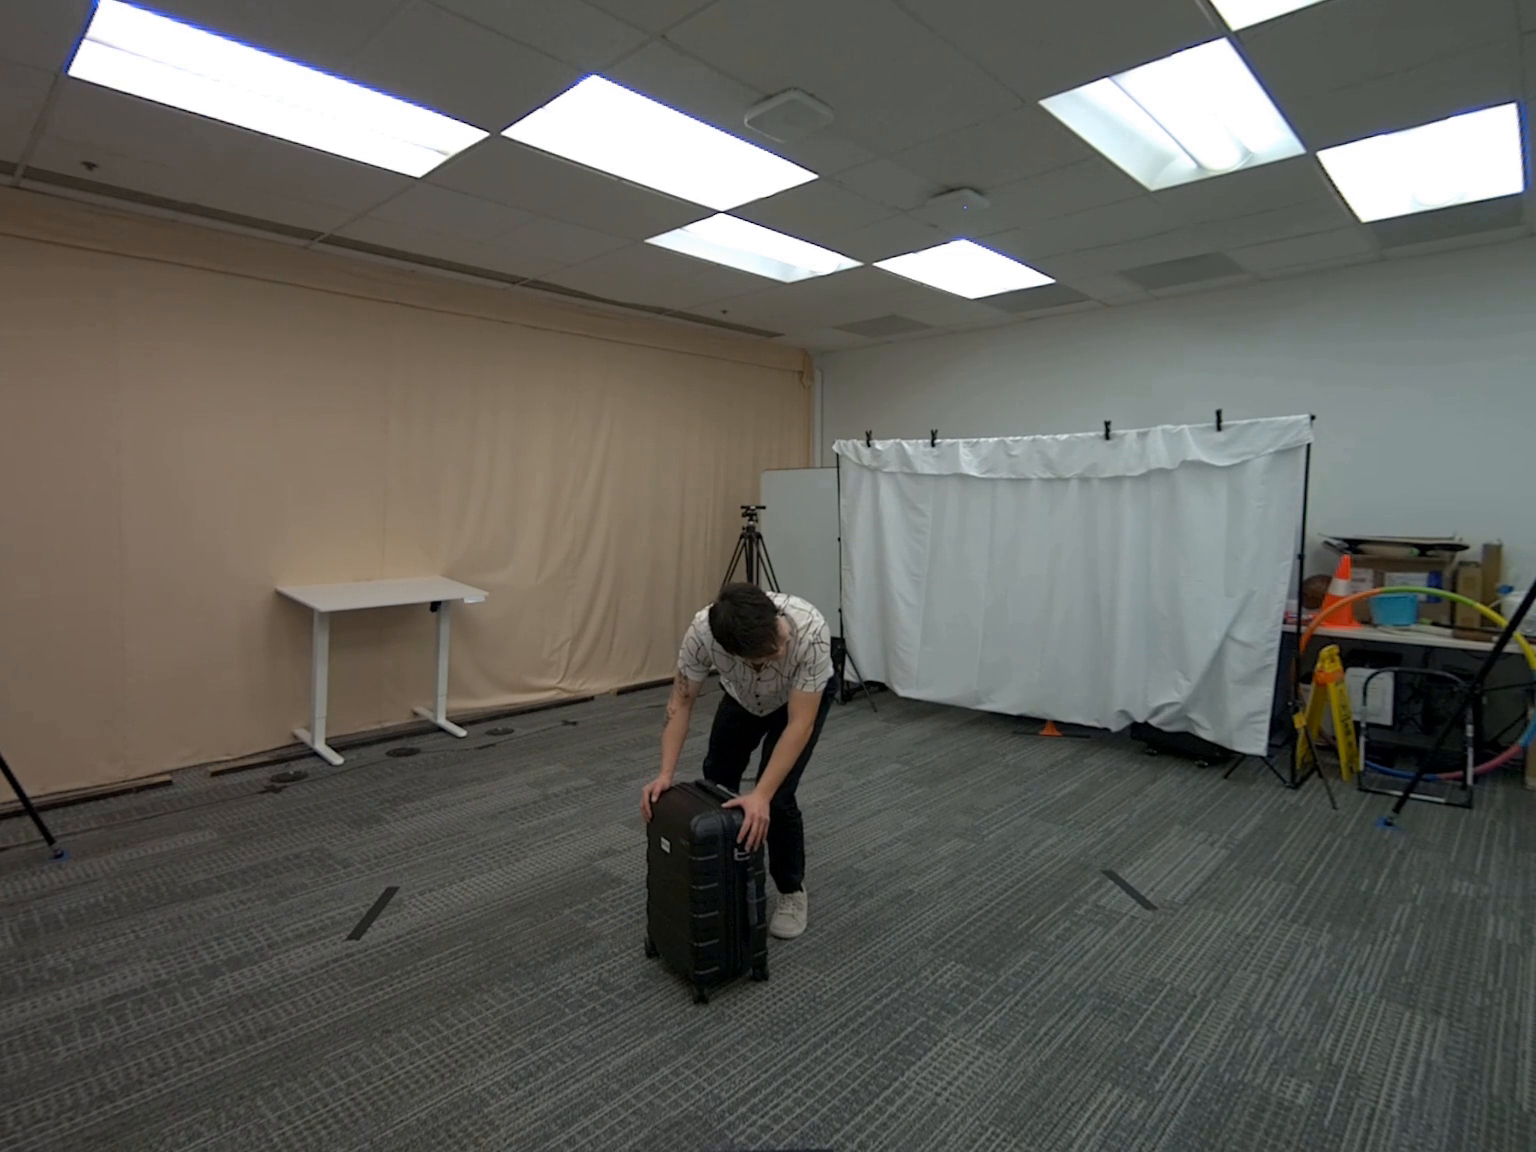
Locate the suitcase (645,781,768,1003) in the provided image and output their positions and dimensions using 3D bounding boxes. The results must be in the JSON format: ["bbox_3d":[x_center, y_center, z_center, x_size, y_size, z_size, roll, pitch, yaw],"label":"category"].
[{"bbox_3d":[-0.185,0.911,2.503,0.241,0.547,0.387,-2,6,-32],"label":"suitcase"}]
